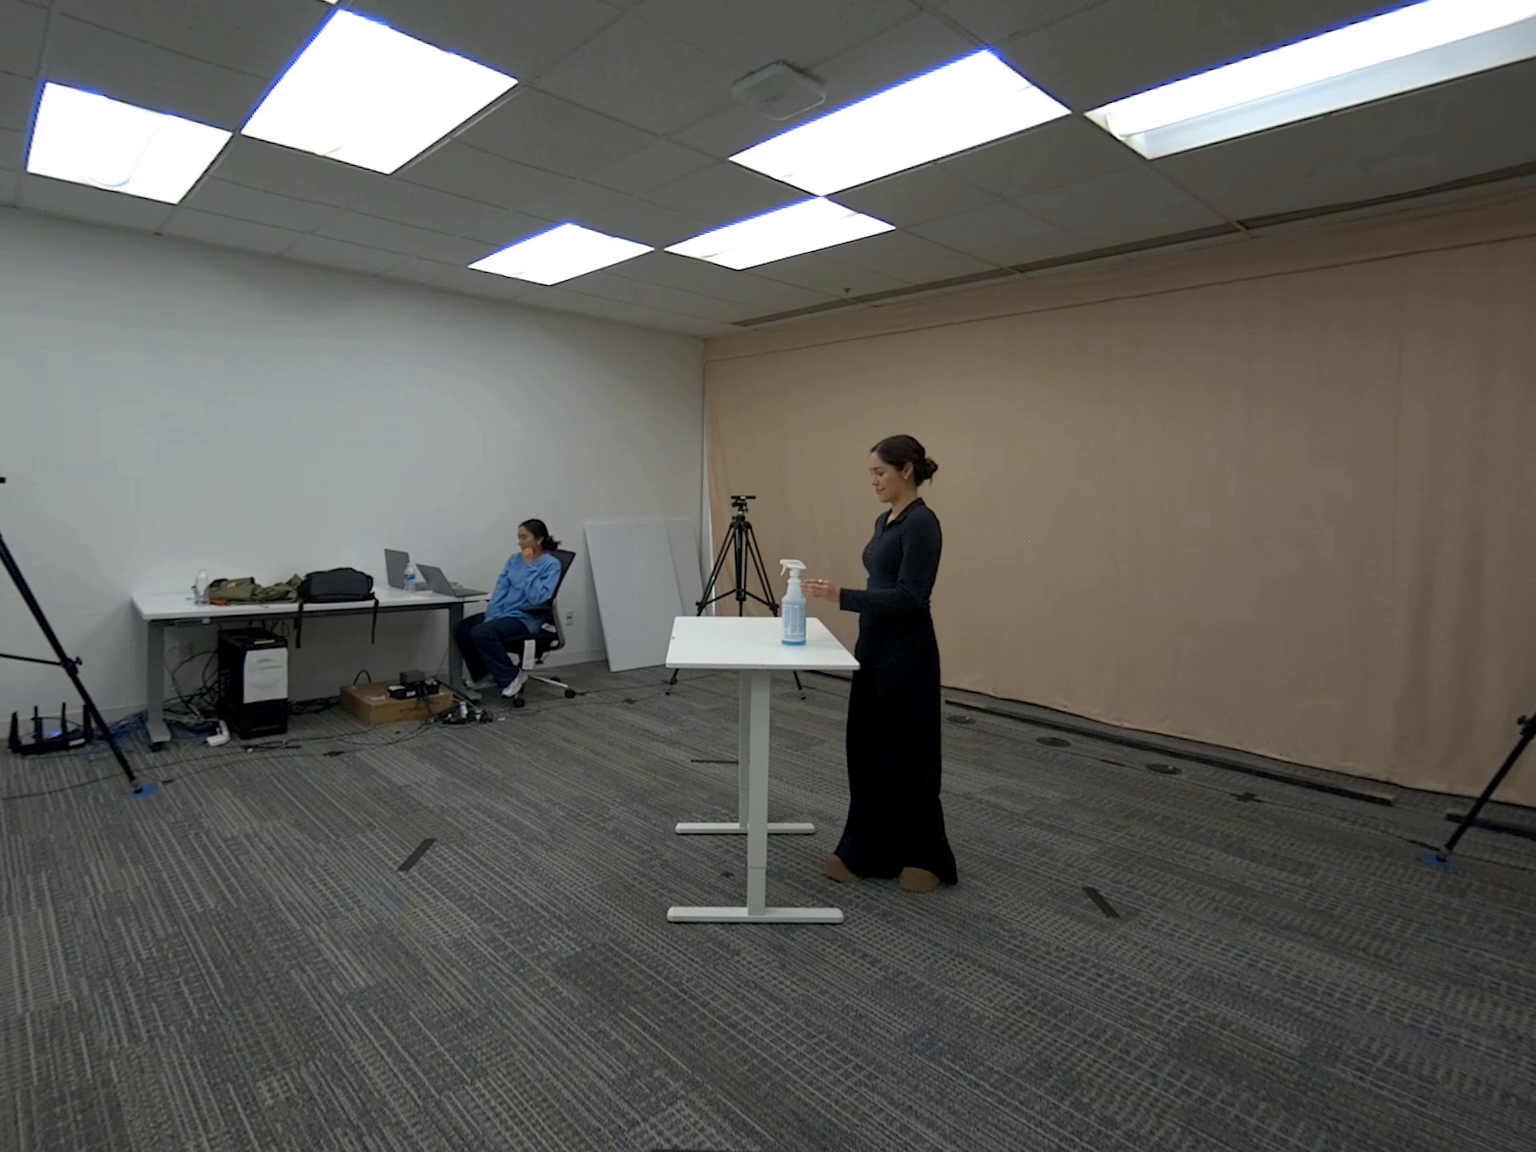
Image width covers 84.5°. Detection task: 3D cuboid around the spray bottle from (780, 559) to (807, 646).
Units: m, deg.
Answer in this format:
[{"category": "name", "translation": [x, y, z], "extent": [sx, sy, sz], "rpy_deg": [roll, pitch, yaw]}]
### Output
[{"category": "spray bottle", "translation": [0.091, 0.094, 2.950], "extent": [0.091, 0.296, 0.086], "rpy_deg": [0, 4, 20]}]
